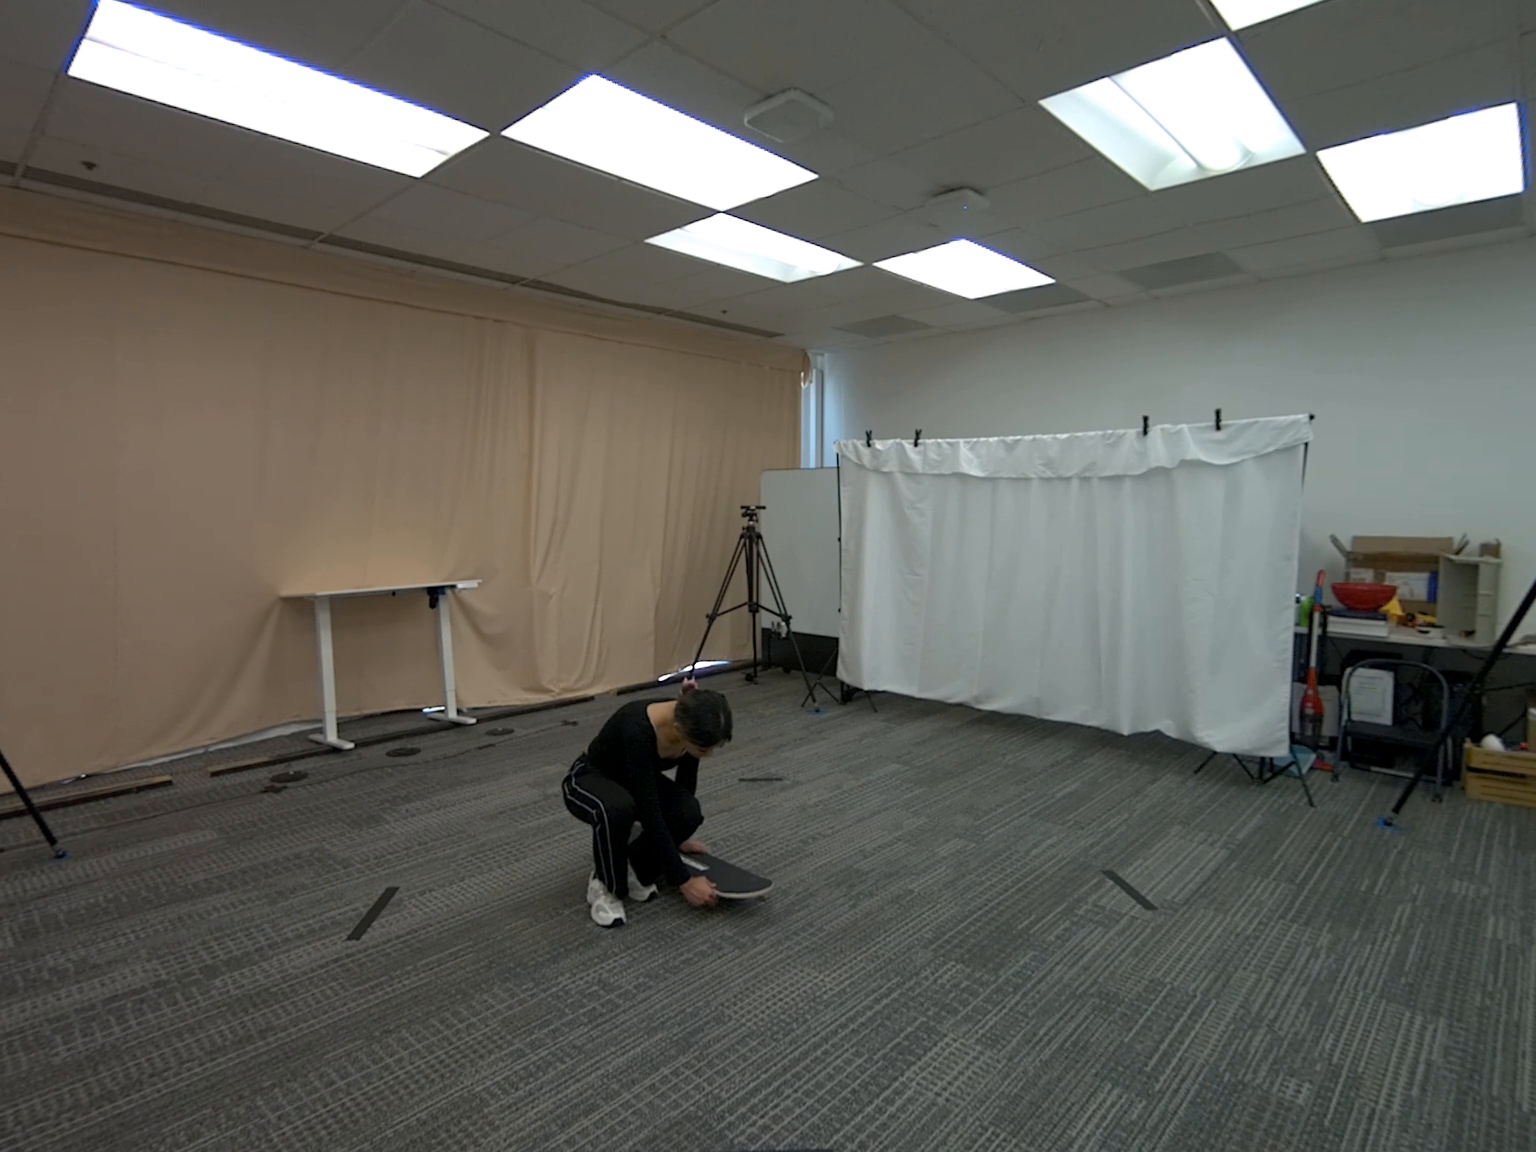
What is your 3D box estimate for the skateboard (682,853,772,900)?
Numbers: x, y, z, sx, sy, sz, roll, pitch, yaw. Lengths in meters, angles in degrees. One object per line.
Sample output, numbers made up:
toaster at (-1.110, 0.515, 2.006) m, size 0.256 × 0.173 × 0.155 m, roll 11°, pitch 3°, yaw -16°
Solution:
skateboard at (-0.294, 1.075, 3.103) m, size 0.812 × 0.110 × 0.187 m, roll 4°, pitch 4°, yaw 44°
